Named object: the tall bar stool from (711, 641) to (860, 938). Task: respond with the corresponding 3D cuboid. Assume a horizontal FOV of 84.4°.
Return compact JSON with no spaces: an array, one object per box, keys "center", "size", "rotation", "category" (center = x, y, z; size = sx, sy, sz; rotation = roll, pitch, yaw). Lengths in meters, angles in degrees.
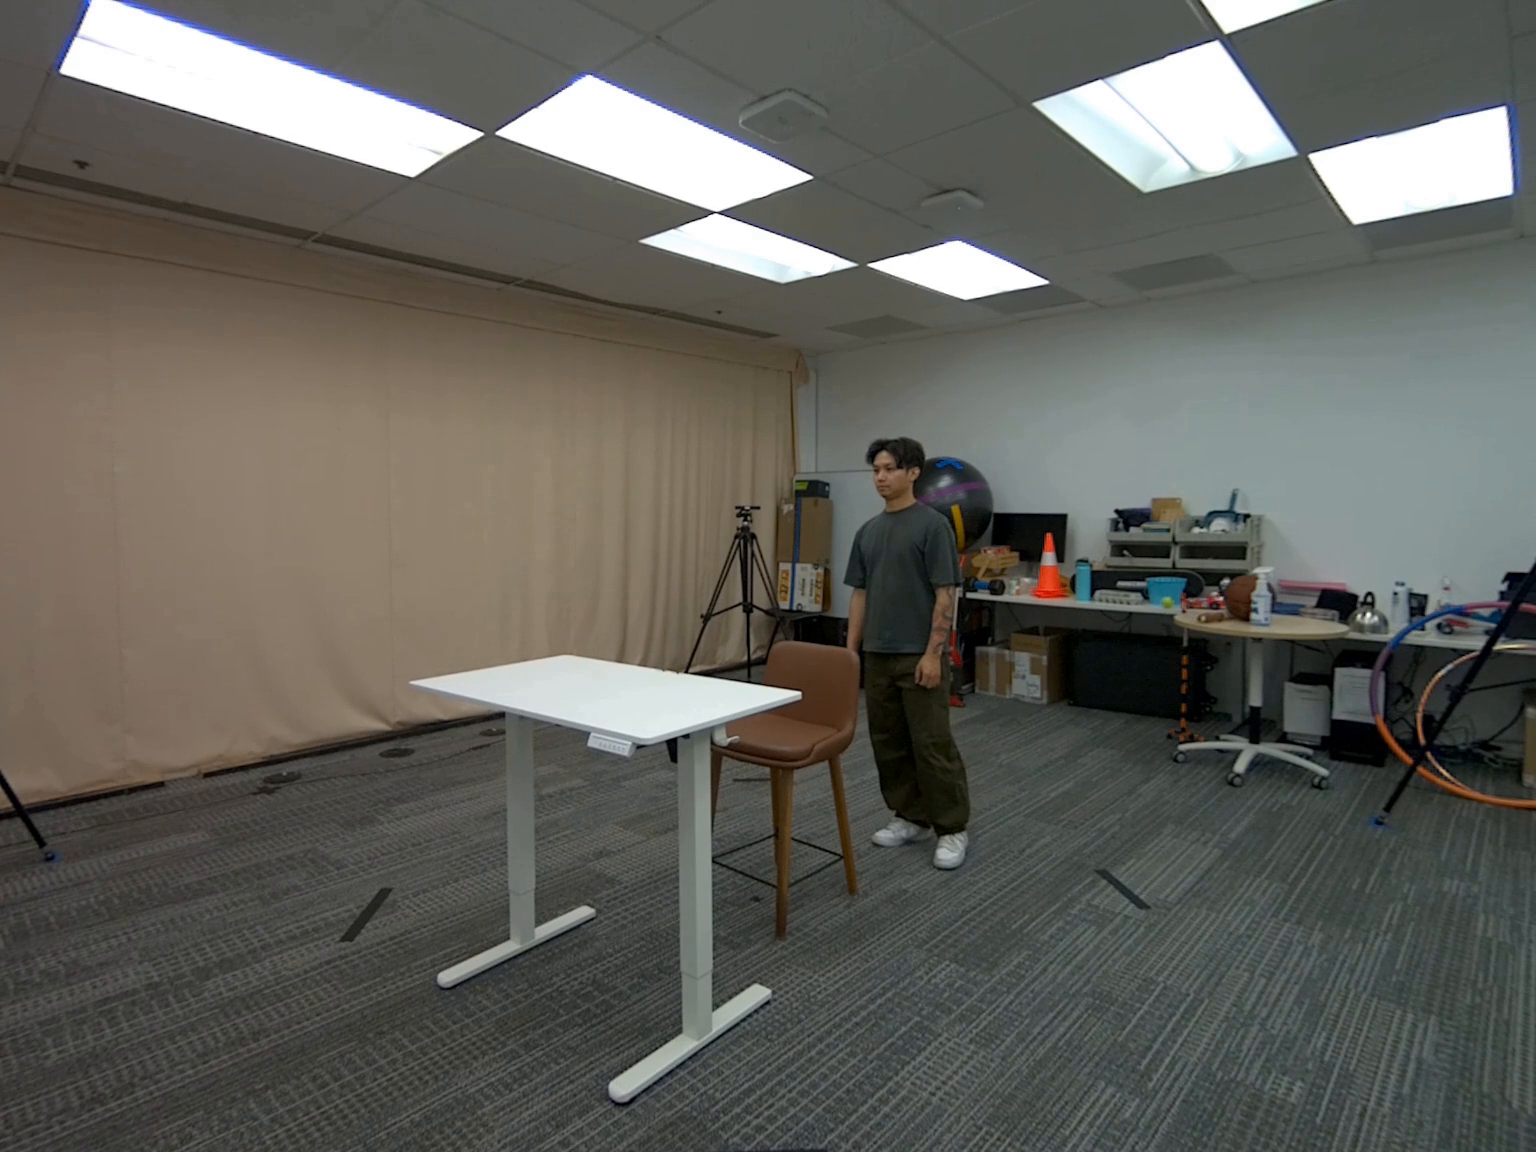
[{"center":[0.053,0.707,2.982],"size":[0.472,0.888,0.453],"rotation":[4,3,43],"category":"tall bar stool"}]
